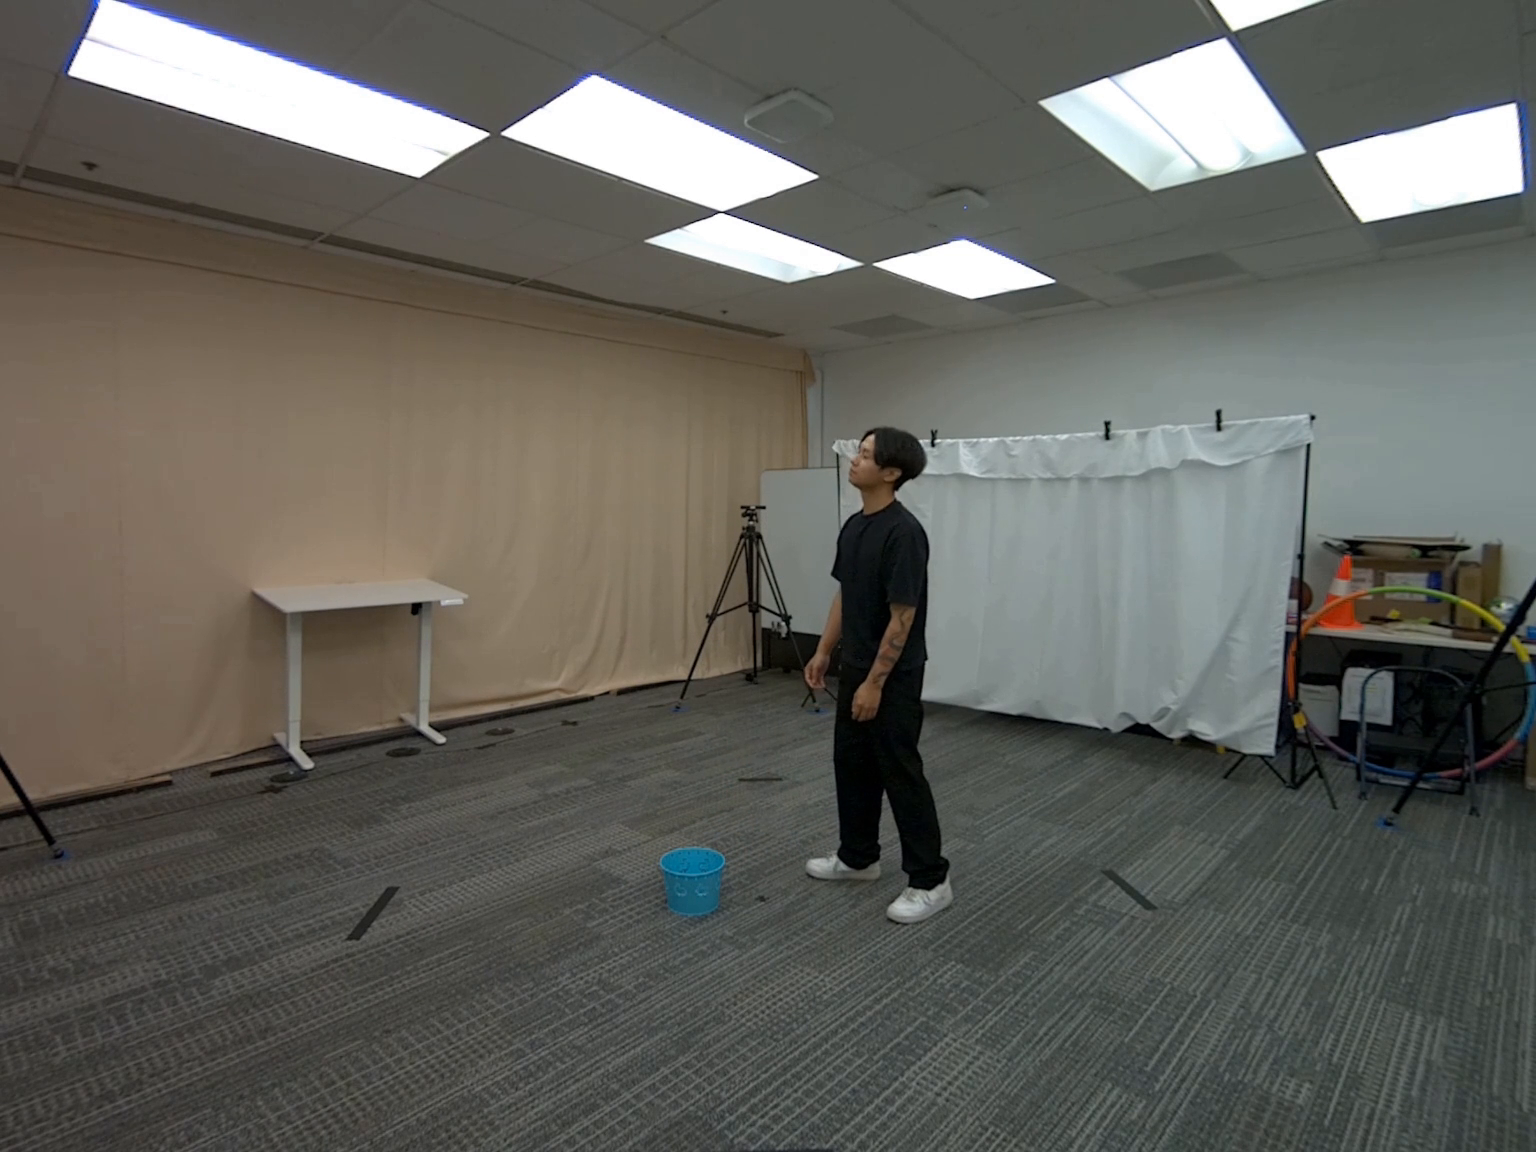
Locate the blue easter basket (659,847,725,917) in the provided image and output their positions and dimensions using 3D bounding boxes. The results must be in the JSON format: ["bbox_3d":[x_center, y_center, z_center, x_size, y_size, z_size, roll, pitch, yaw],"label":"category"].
[{"bbox_3d":[-0.257,1.071,2.946,0.243,0.155,0.244,-2,4,-2],"label":"blue easter basket"}]
